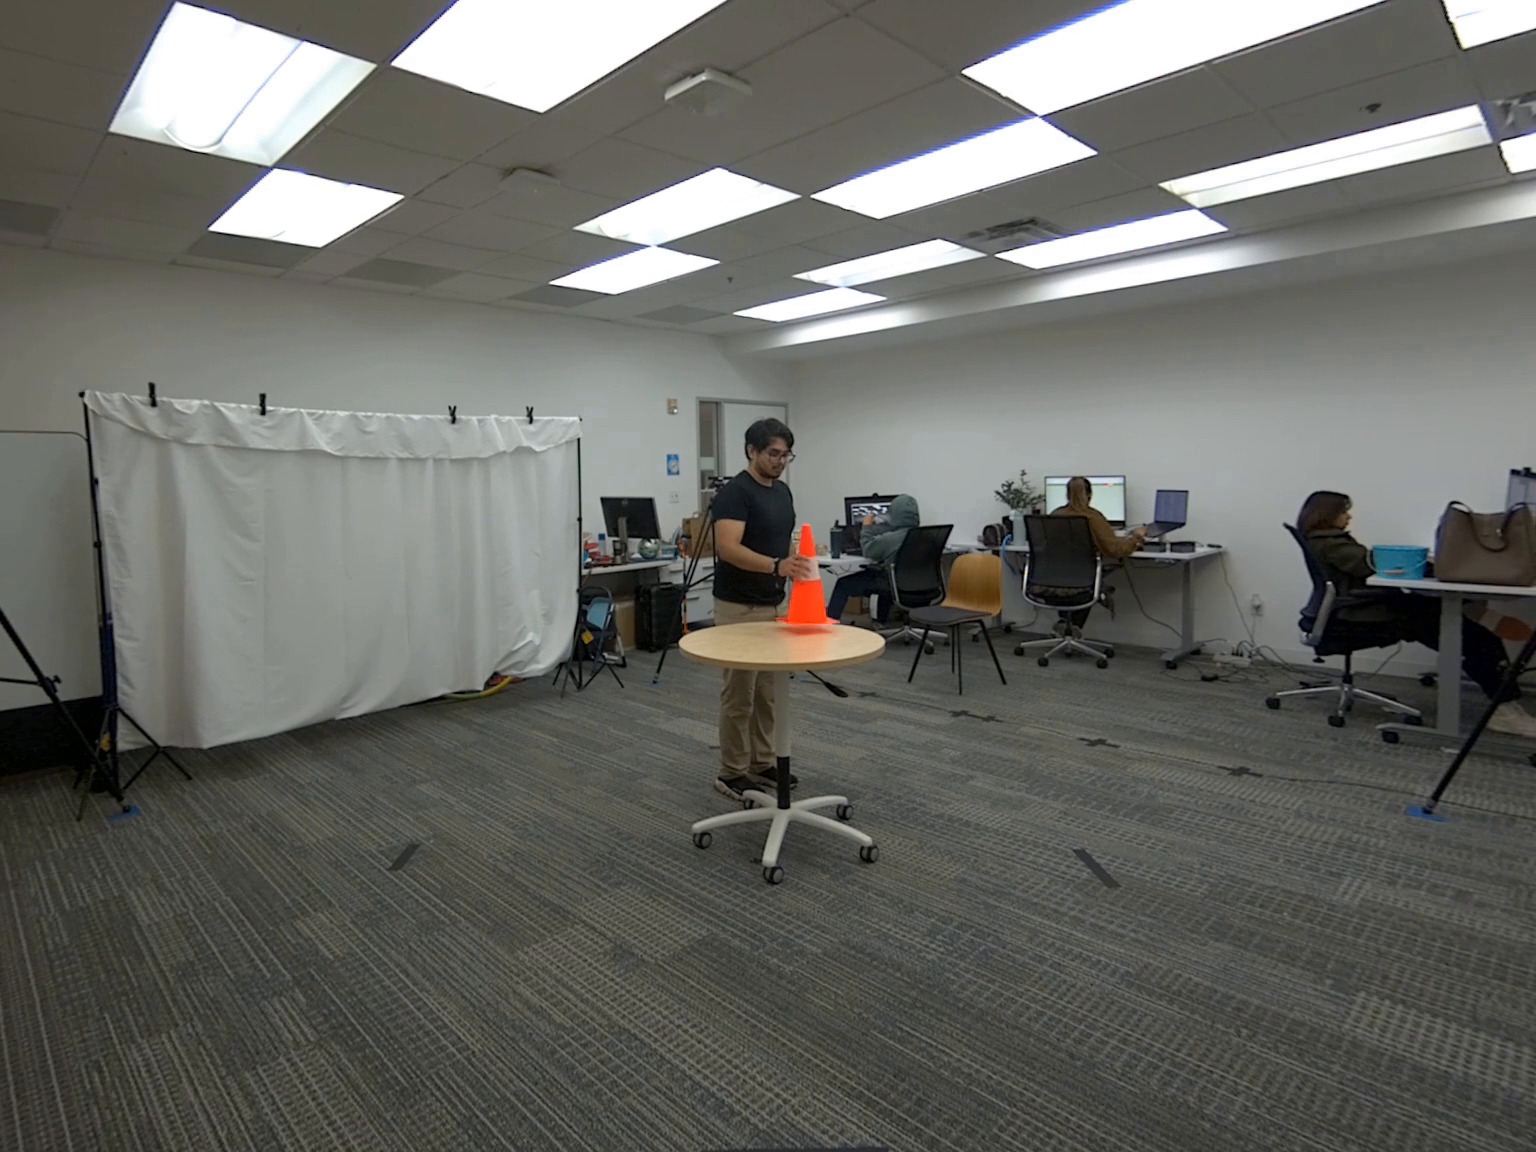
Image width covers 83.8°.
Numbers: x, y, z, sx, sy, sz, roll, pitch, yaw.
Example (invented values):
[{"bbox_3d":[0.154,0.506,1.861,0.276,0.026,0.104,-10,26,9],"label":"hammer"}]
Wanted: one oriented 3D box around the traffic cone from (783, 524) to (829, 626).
[{"bbox_3d":[0.156,-0.010,3.359,0.200,0.381,0.209,-7,9,-30],"label":"traffic cone"}]
